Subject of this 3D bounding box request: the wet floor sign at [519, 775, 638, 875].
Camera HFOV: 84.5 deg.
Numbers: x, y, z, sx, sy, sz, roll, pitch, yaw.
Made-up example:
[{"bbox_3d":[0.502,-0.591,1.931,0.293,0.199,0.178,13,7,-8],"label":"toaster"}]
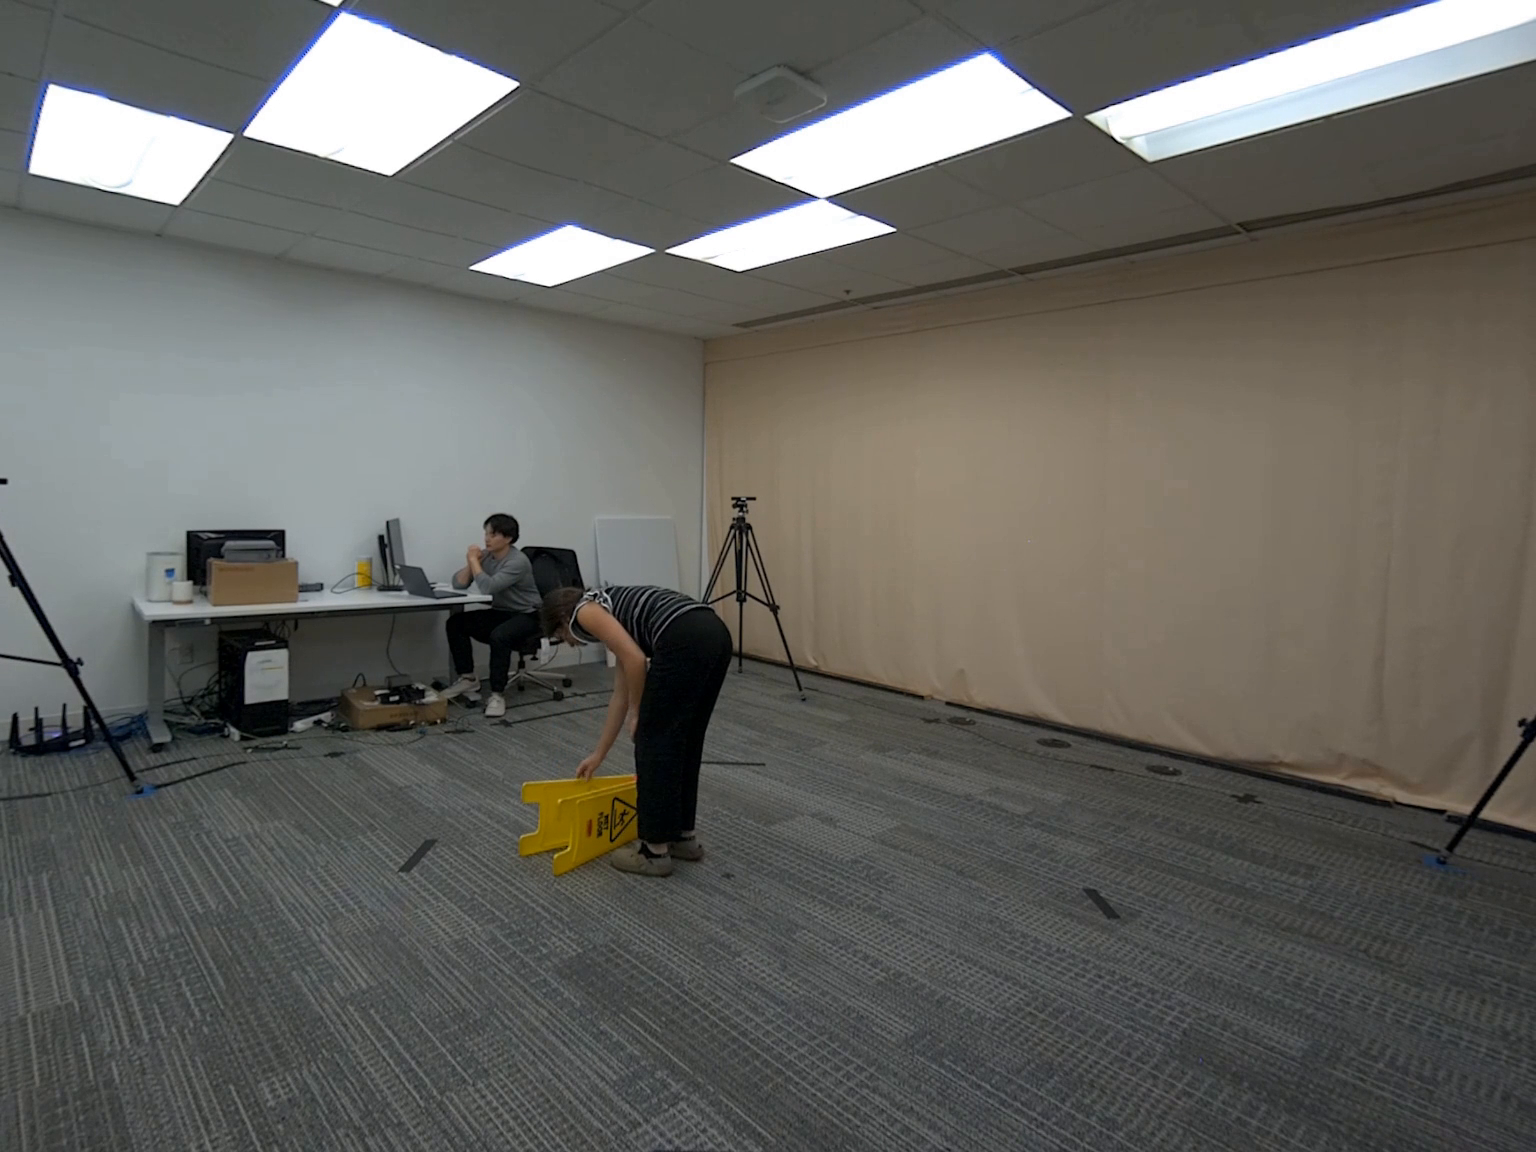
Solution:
[{"bbox_3d":[-0.653,0.946,3.377,0.297,0.282,0.630,4,2,42],"label":"wet floor sign"}]
